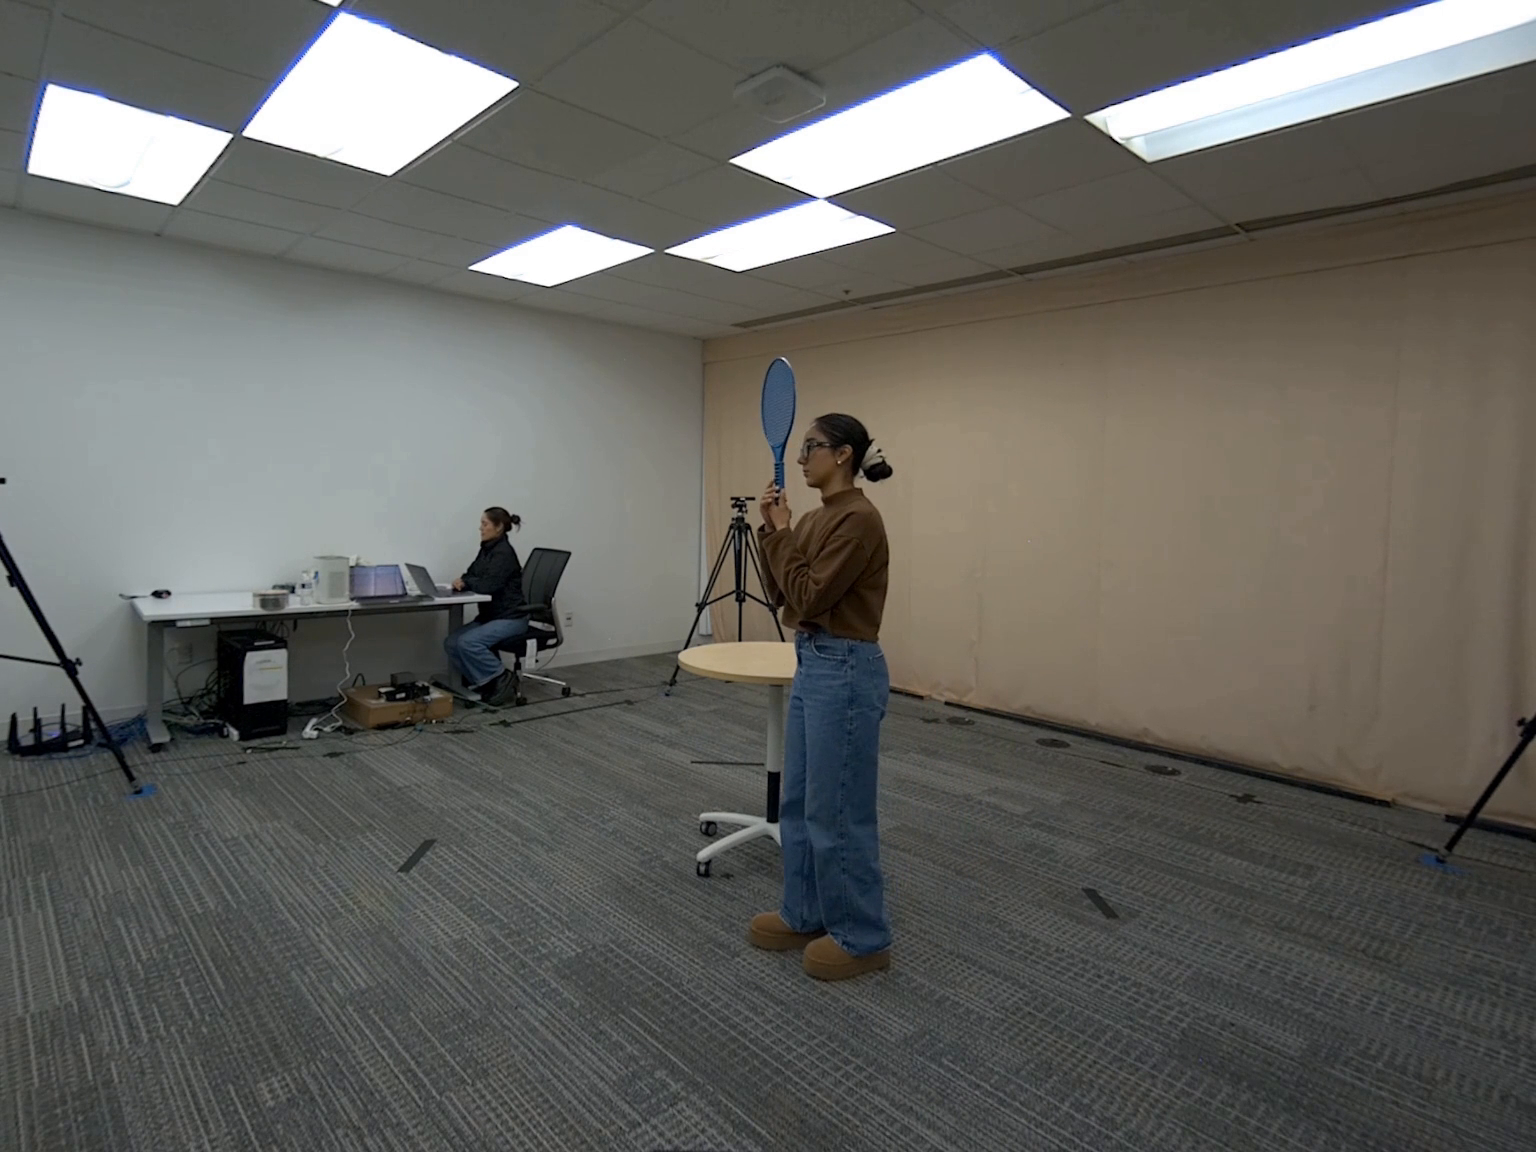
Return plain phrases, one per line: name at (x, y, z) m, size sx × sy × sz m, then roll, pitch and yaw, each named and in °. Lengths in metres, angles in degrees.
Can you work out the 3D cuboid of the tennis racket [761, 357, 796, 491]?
tennis racket at (0.039, -0.432, 2.497) m, size 0.031 × 0.434 × 0.216 m, roll -4°, pitch -3°, yaw -24°
